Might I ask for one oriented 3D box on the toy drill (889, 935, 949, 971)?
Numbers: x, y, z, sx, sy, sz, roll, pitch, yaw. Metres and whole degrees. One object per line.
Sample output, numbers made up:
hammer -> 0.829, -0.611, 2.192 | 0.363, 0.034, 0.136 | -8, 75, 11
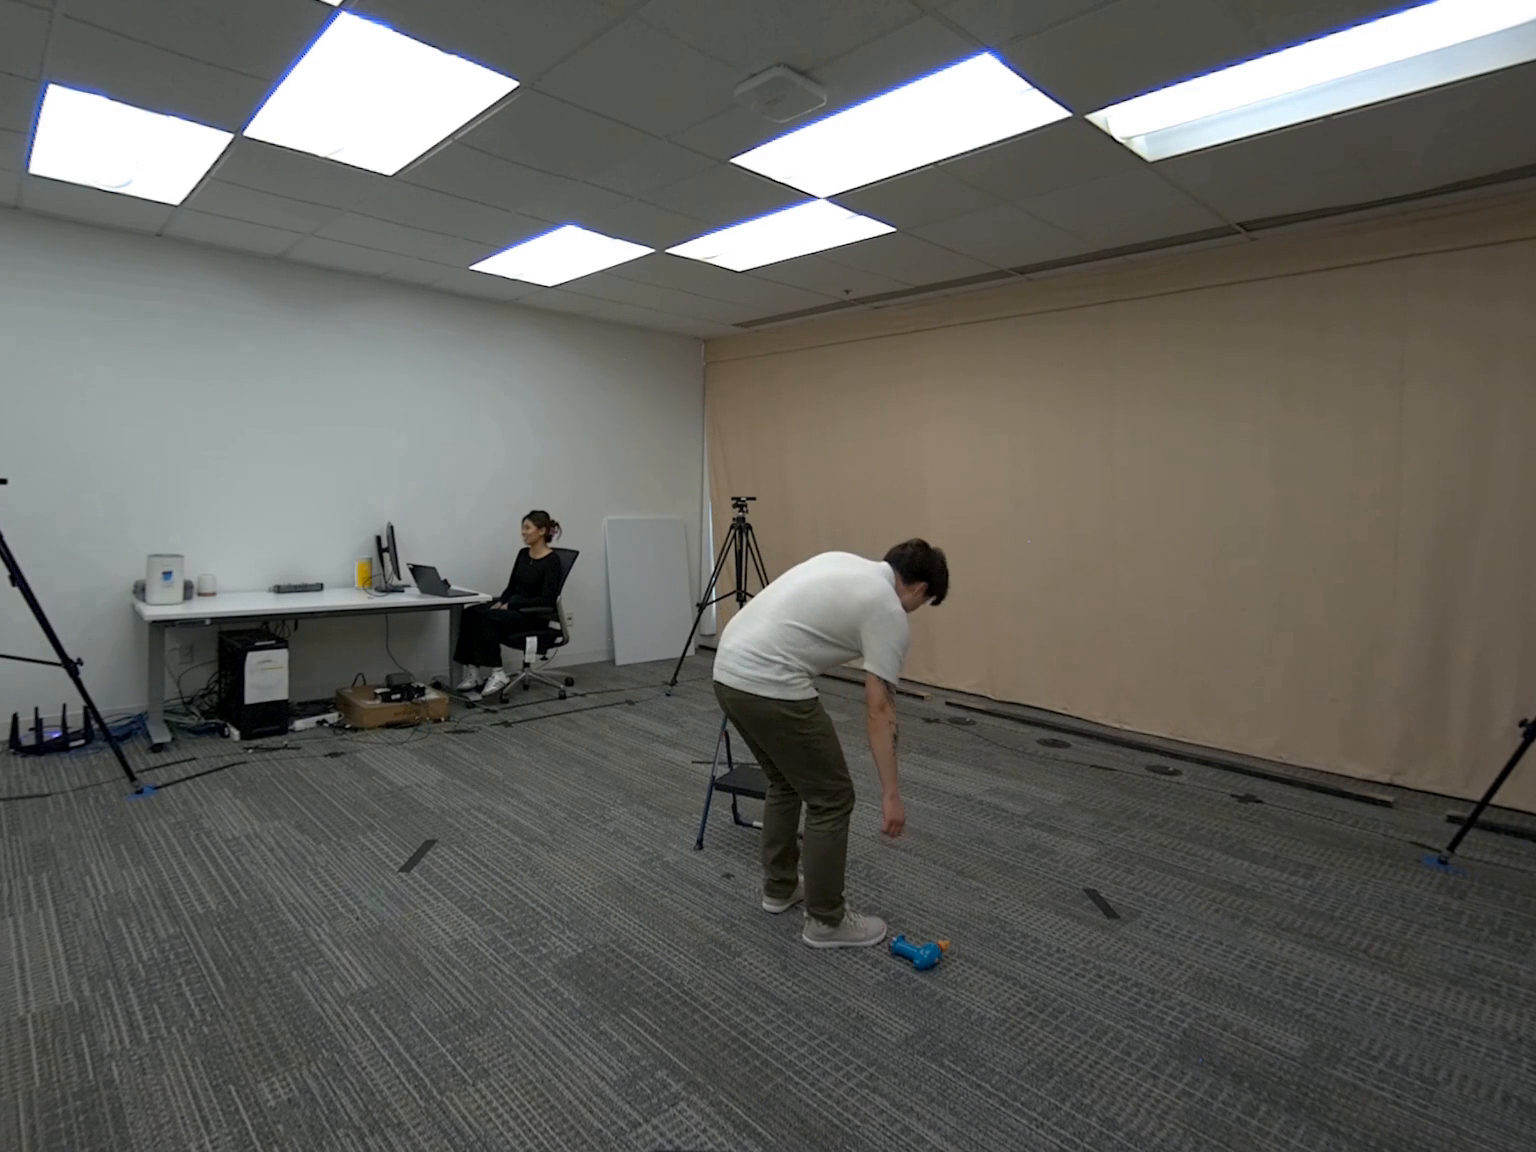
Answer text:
toy drill -> 0.464, 1.139, 2.572 | 0.166, 0.061, 0.150 | -10, 11, -38
